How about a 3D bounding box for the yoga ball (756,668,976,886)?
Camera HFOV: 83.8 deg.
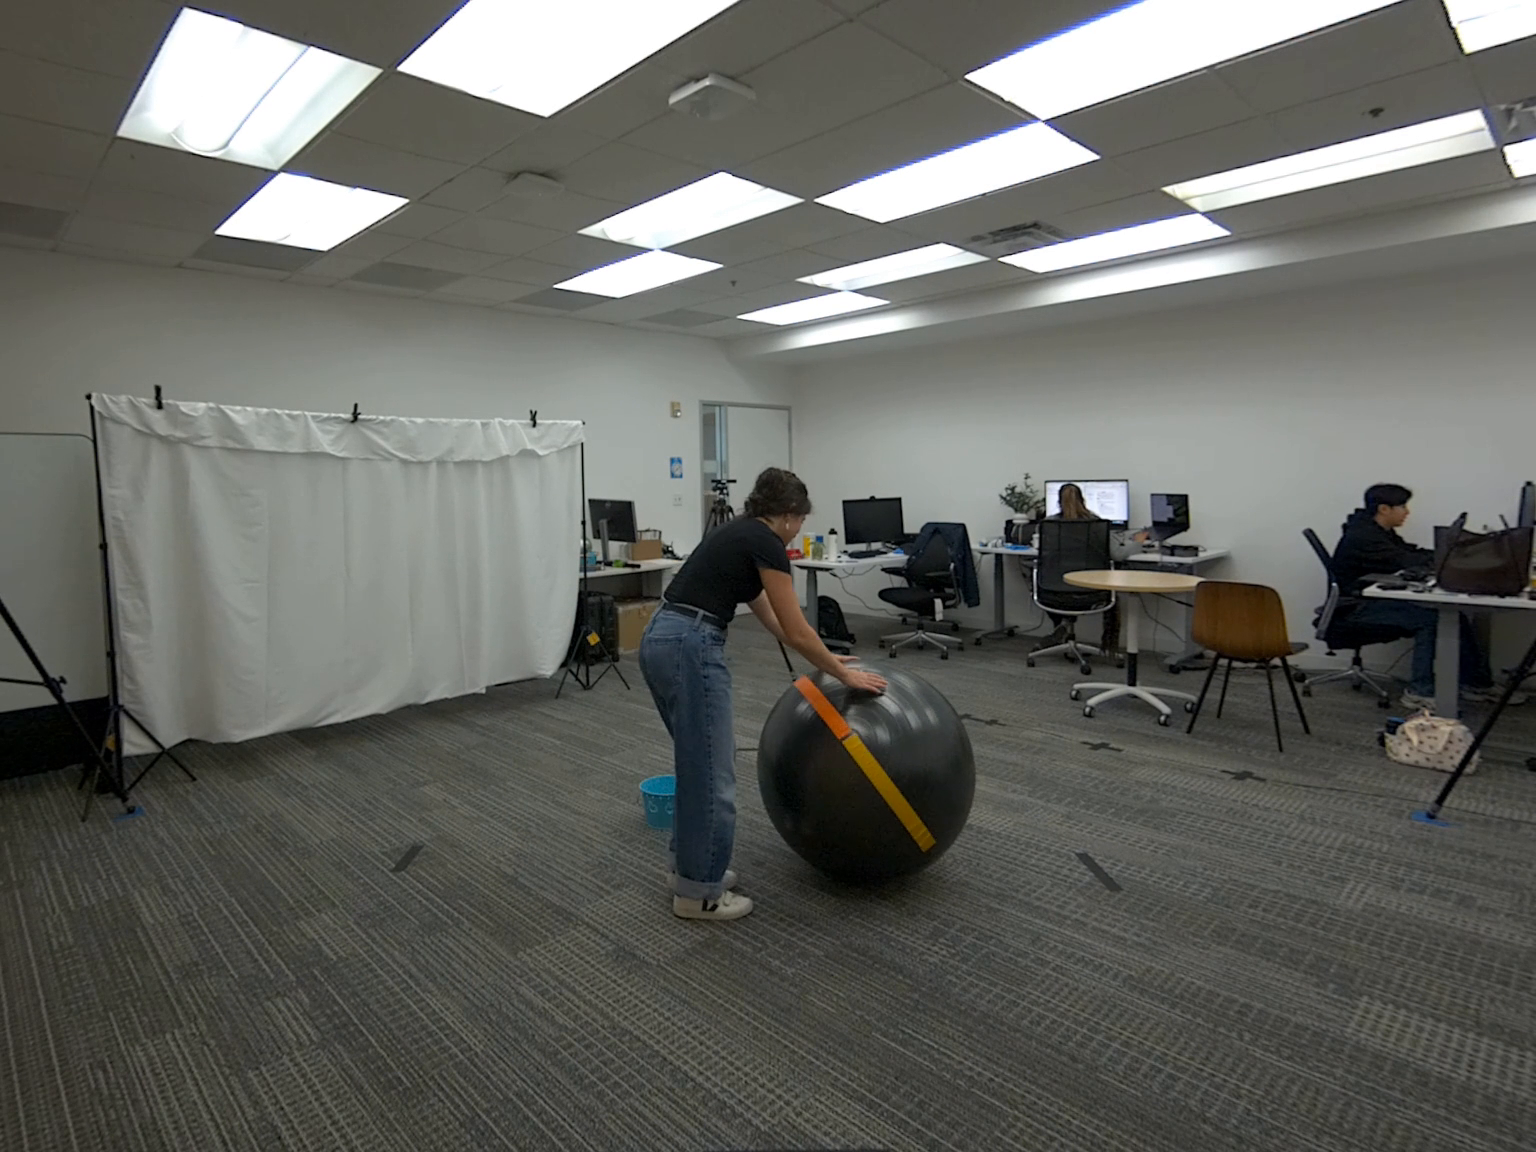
[{"bbox_3d":[0.344,0.680,3.023,0.757,0.755,0.762,-1,5,-2],"label":"yoga ball"}]
